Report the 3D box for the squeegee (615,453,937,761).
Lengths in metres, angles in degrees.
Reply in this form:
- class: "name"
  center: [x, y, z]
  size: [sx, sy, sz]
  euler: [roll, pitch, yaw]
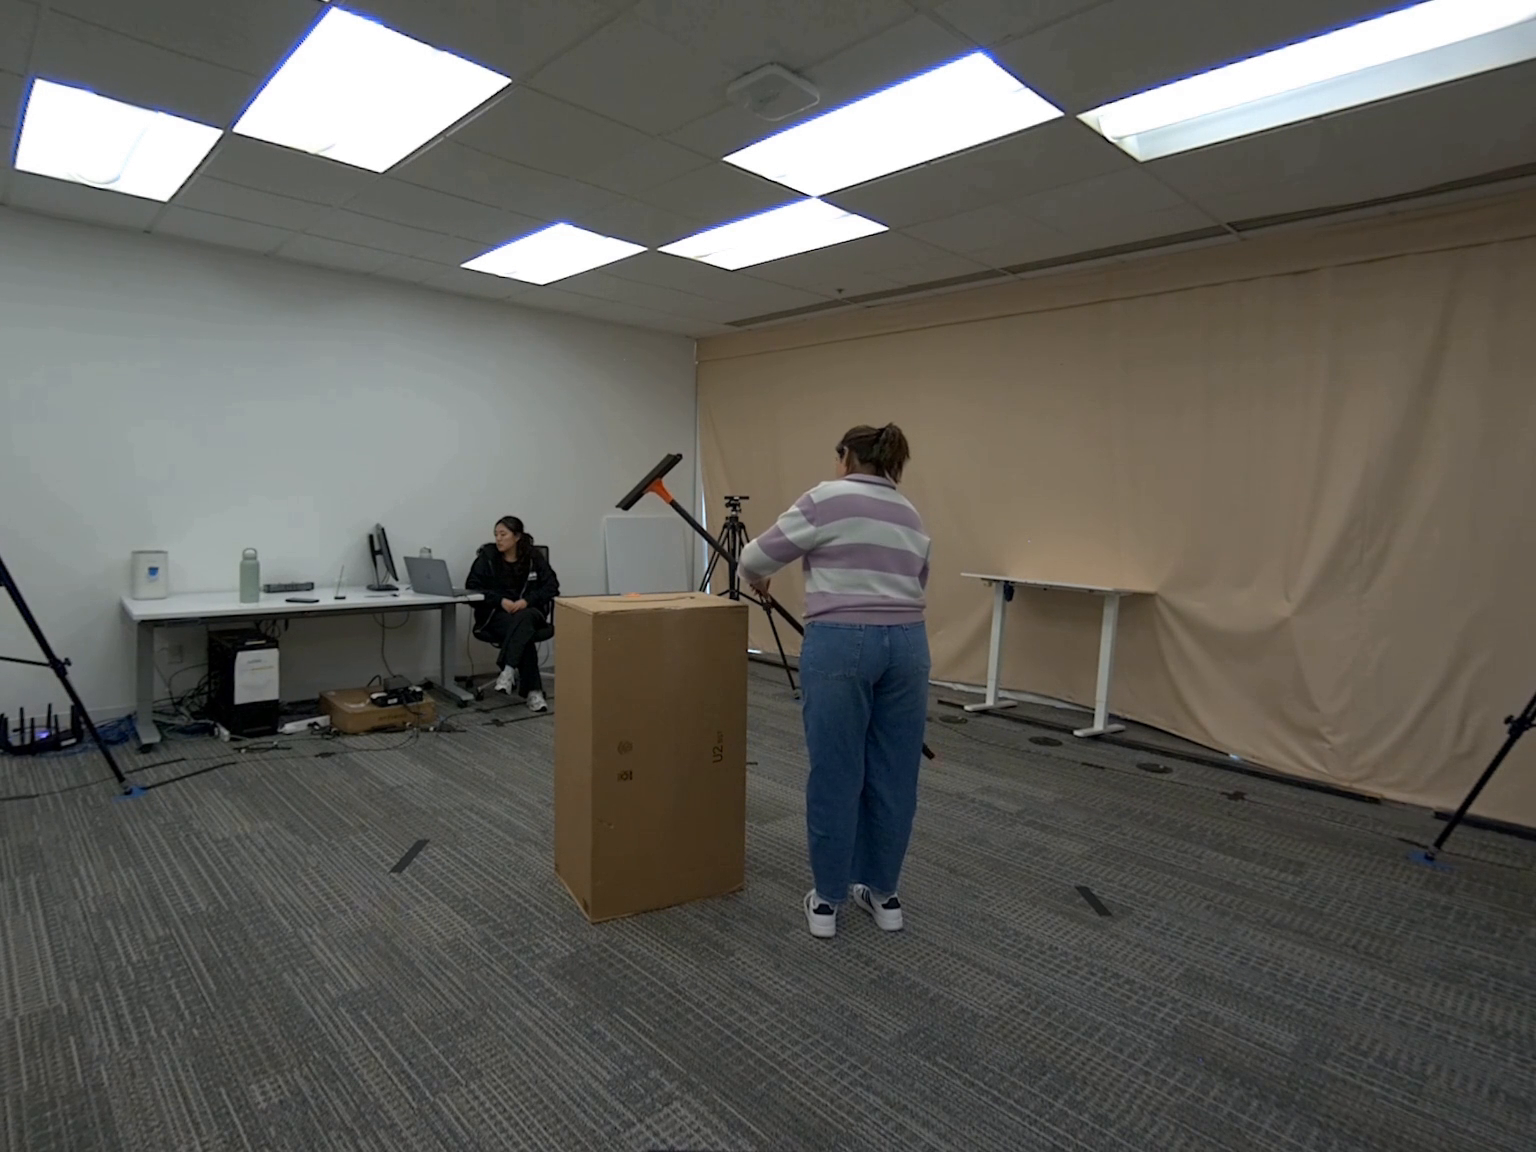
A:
- class: "squeegee"
  center: [0.105, 0.189, 3.121]
  size: [0.440, 1.524, 0.053]
  euler: [-35, 13, 50]
